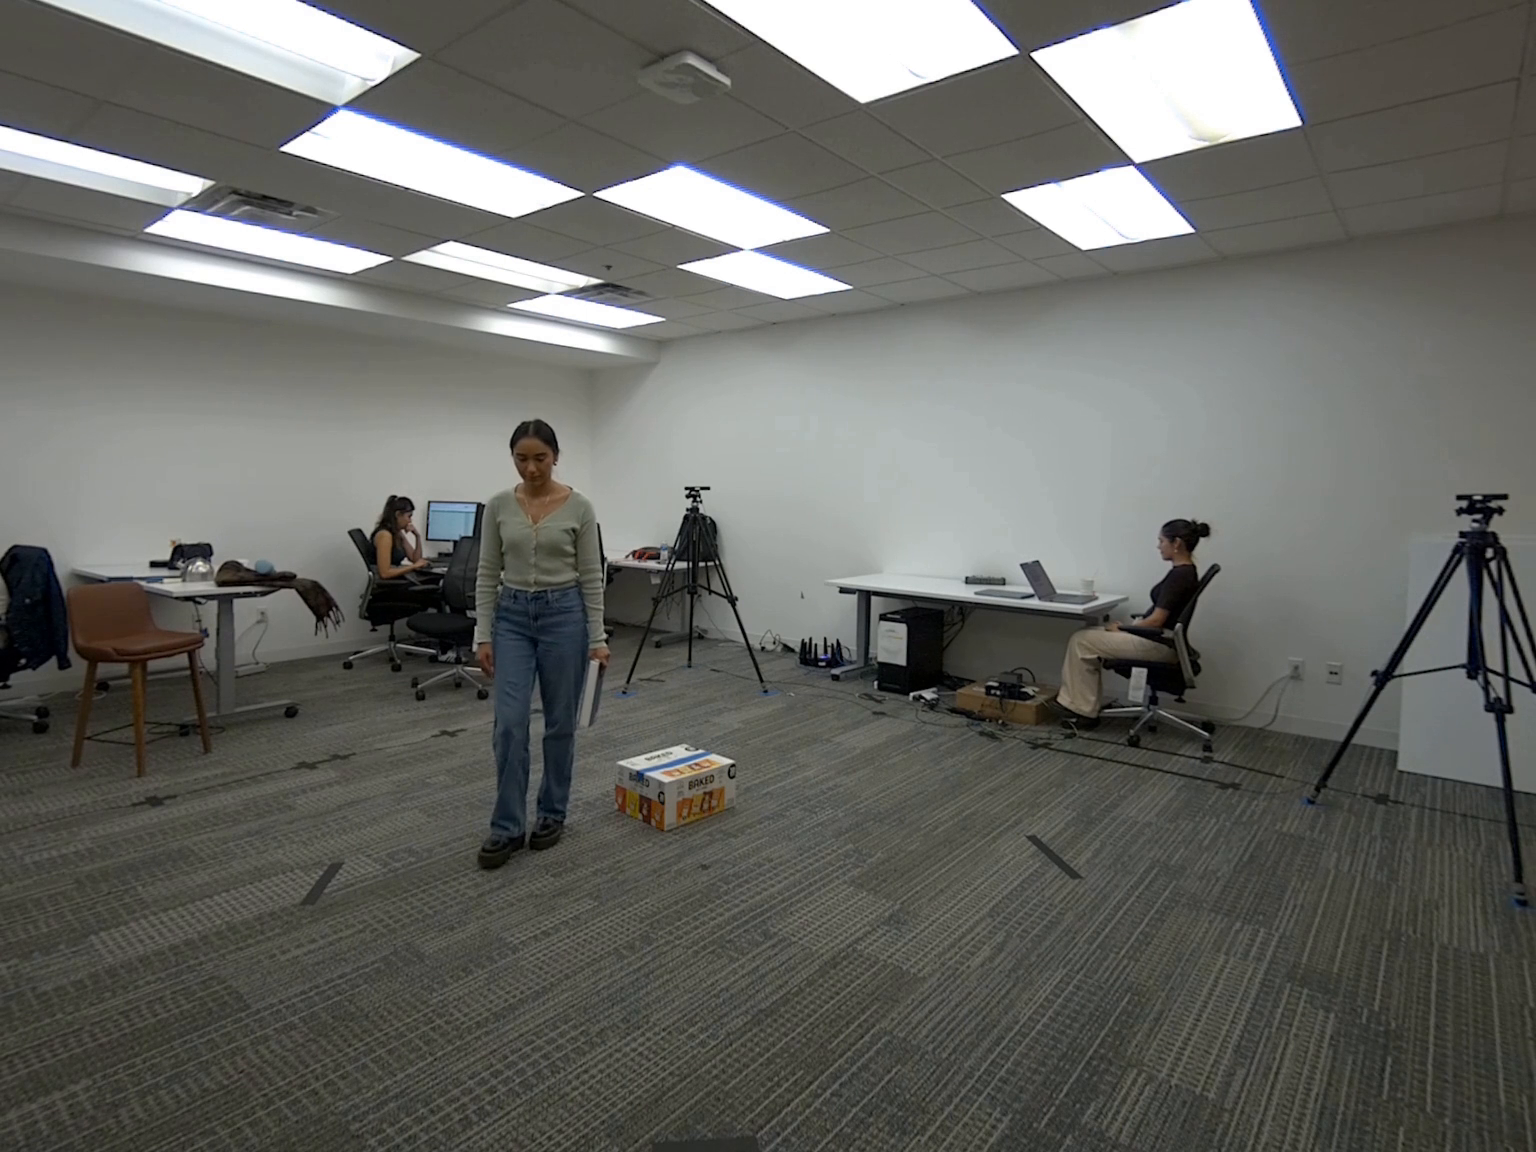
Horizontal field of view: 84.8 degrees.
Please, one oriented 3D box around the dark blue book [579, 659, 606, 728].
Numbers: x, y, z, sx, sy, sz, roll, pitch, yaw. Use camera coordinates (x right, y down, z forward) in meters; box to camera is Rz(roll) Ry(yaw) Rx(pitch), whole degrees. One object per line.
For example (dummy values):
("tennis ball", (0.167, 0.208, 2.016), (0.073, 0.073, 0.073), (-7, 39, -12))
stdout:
("dark blue book", (-0.695, 0.446, 3.264), (0.045, 0.246, 0.163), (10, -2, -5))
